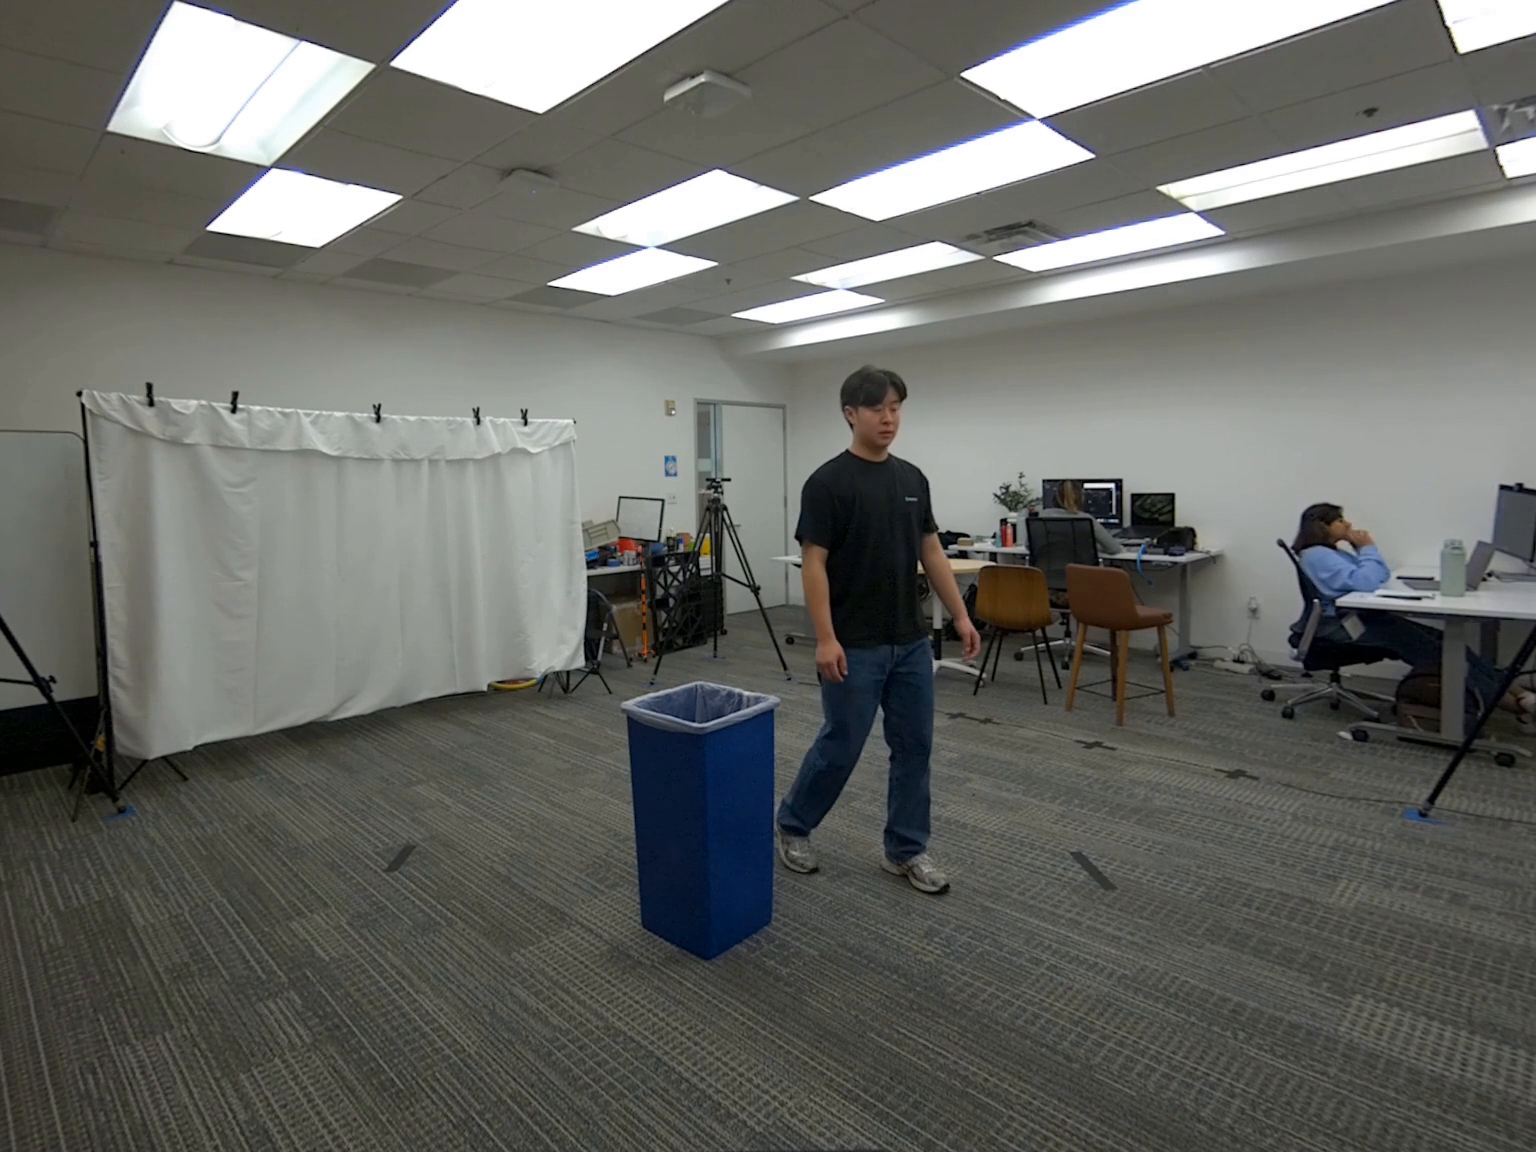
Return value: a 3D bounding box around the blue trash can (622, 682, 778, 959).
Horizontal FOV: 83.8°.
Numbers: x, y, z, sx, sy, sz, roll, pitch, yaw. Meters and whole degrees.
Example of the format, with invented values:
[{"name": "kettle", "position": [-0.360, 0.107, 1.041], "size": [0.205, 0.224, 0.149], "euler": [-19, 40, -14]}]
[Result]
[{"name": "blue trash can", "position": [-0.196, 0.739, 2.656], "size": [0.389, 0.711, 0.364], "euler": [2, 5, 41]}]
